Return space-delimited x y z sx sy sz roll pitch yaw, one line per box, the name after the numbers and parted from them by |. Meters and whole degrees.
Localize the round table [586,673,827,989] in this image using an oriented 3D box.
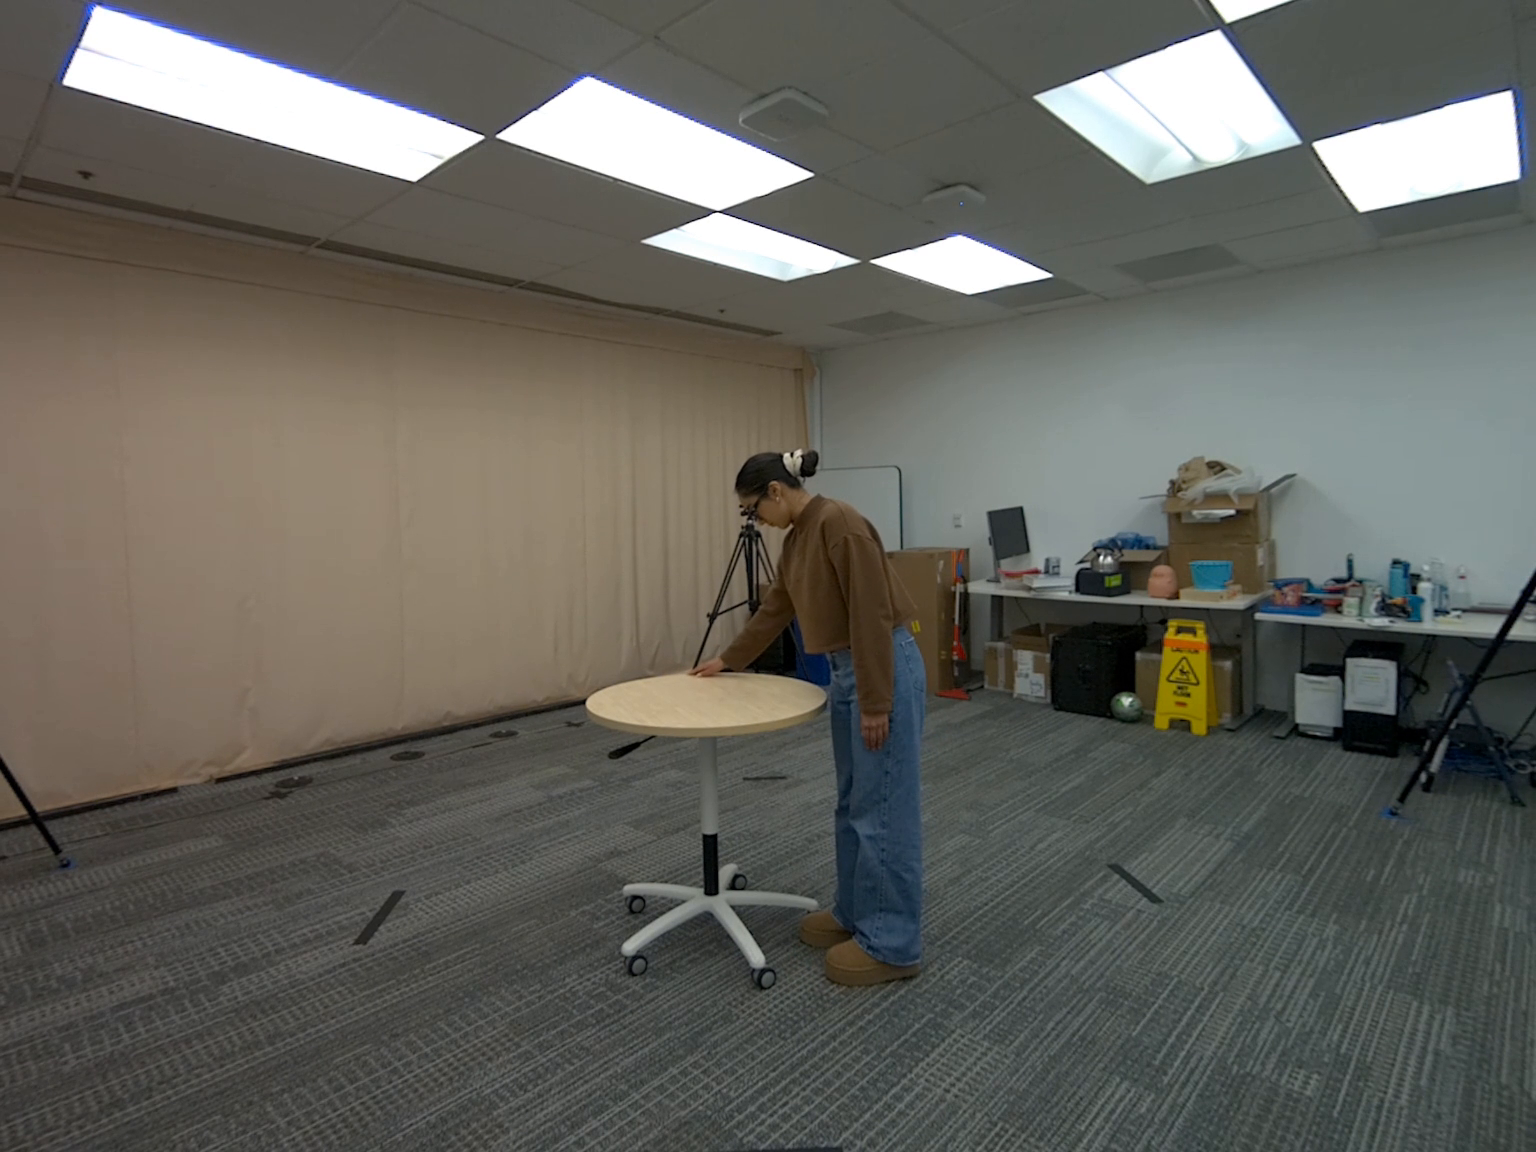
-0.191 0.781 2.710 0.763 0.792 0.766 -2 4 -2 | round table
